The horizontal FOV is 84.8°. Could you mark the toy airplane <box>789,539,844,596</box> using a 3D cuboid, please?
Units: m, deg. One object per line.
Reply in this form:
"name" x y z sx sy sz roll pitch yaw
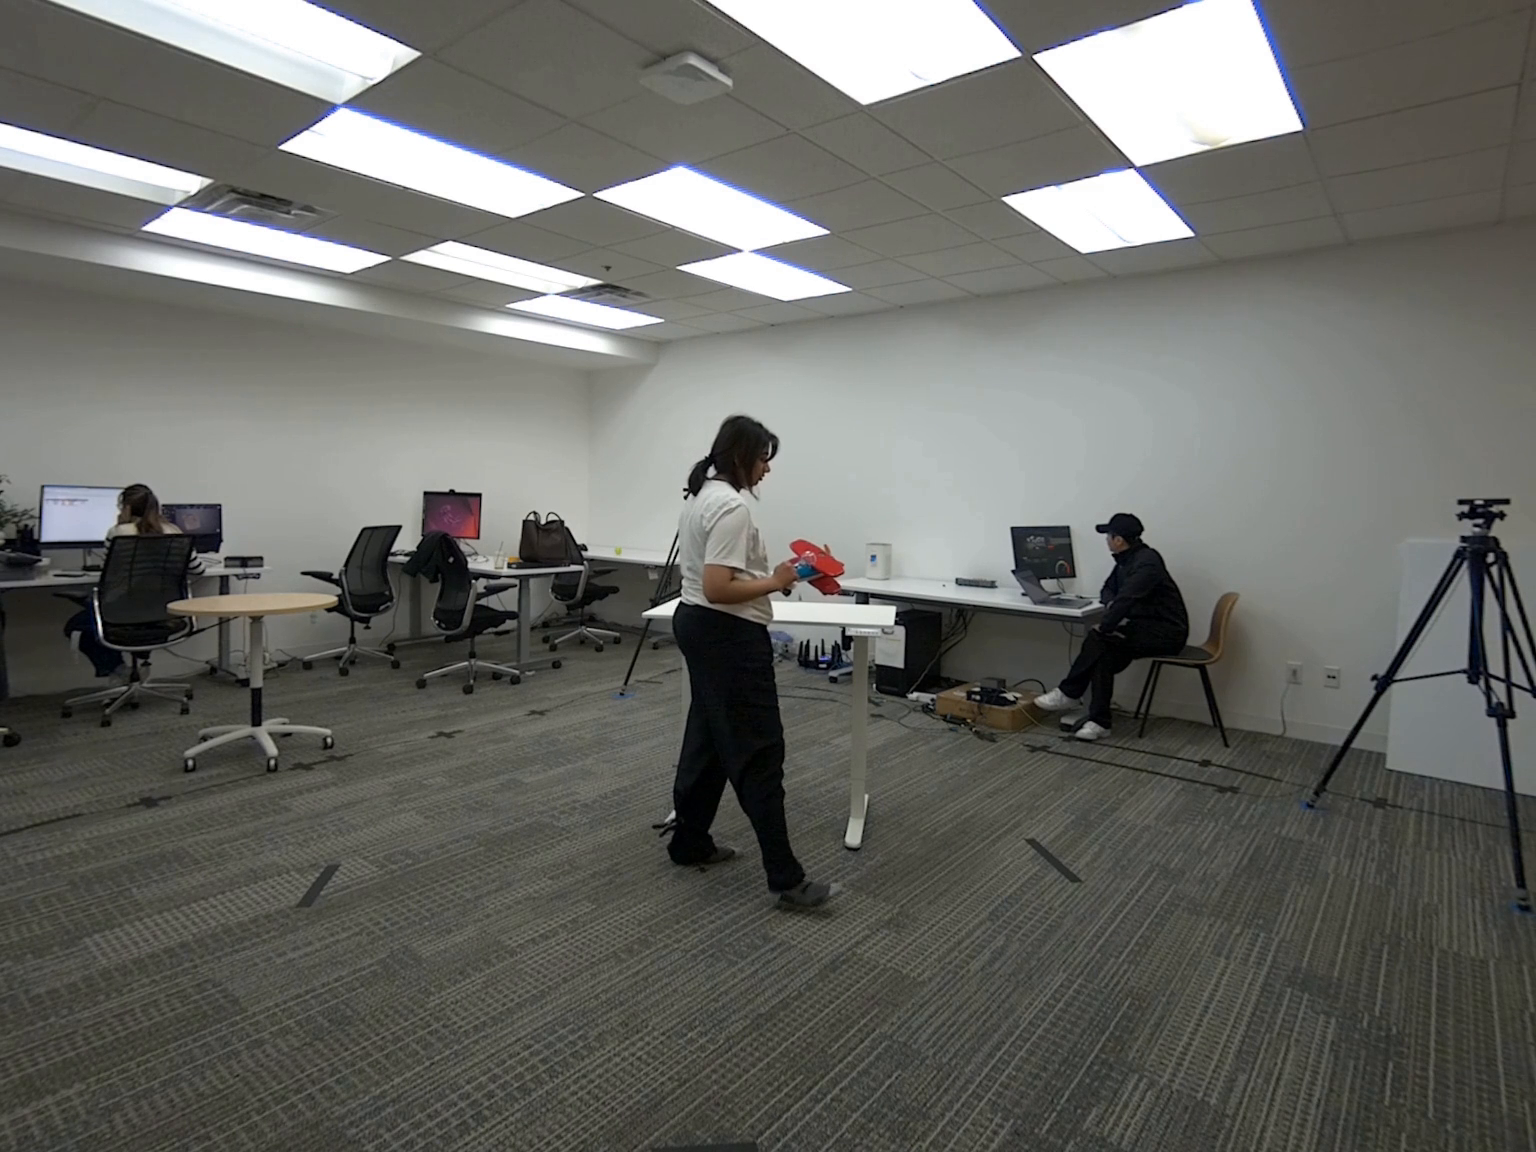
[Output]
"toy airplane" 0.148 -0.006 3.082 0.257 0.154 0.257 24 25 15
